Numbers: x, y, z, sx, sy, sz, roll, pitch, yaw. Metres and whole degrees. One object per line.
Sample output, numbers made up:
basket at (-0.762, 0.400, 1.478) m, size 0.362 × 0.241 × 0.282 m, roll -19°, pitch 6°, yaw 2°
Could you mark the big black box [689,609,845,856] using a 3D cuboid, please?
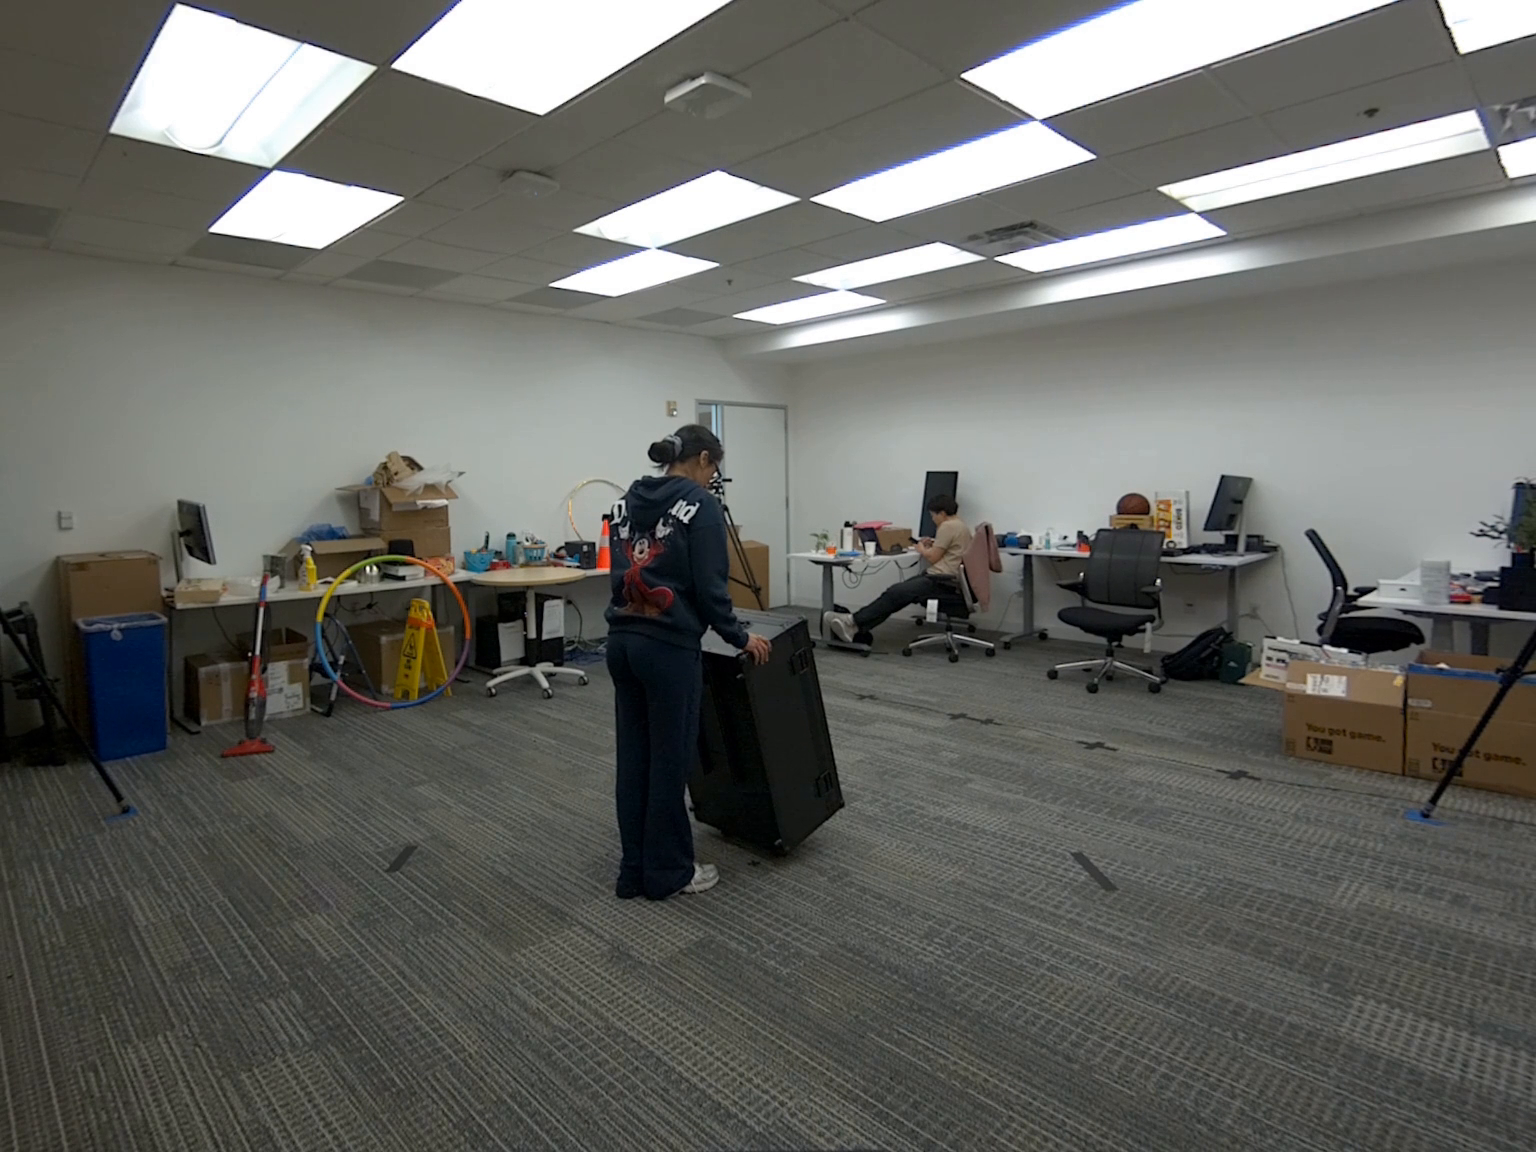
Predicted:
big black box at (-0.066, 0.595, 3.226) m, size 0.537 × 0.848 × 0.390 m, roll 4°, pitch 22°, yaw 45°
